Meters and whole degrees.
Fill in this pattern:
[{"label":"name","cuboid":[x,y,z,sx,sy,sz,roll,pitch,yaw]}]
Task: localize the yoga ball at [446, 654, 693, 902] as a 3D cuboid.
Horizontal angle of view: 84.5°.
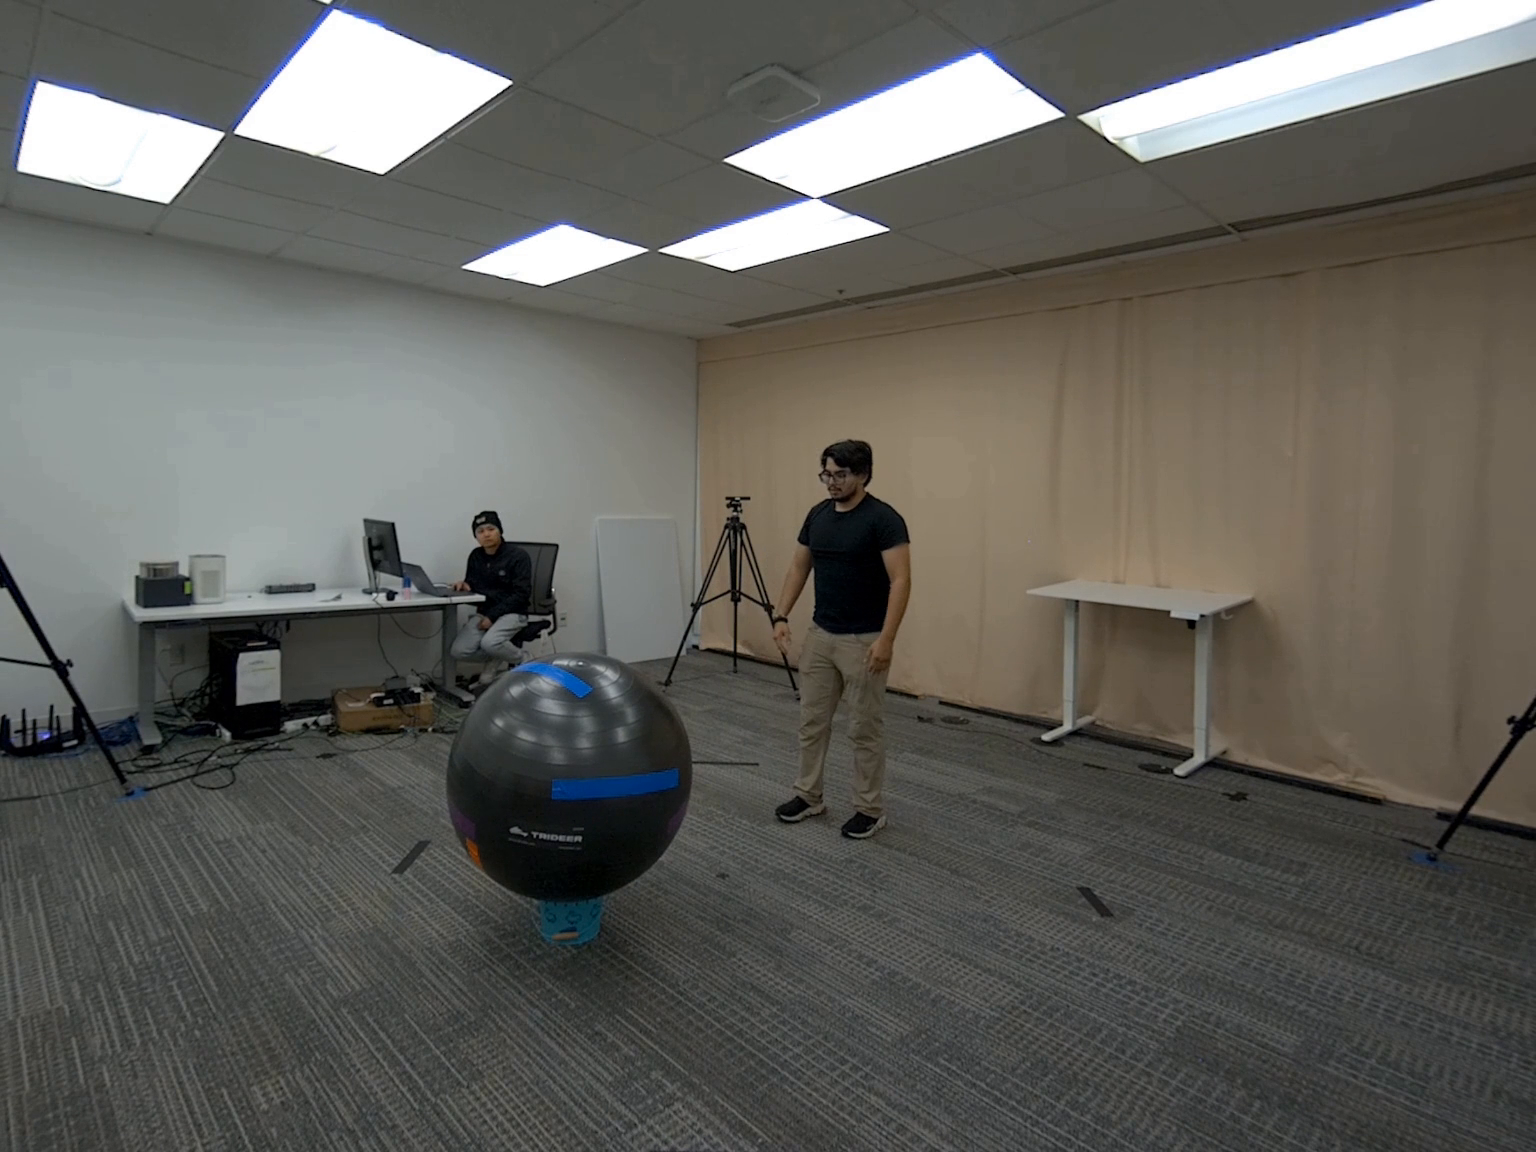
[{"label":"yoga ball","cuboid":[-0.621,0.630,2.650,0.757,0.756,0.760,1,4,-1]}]
